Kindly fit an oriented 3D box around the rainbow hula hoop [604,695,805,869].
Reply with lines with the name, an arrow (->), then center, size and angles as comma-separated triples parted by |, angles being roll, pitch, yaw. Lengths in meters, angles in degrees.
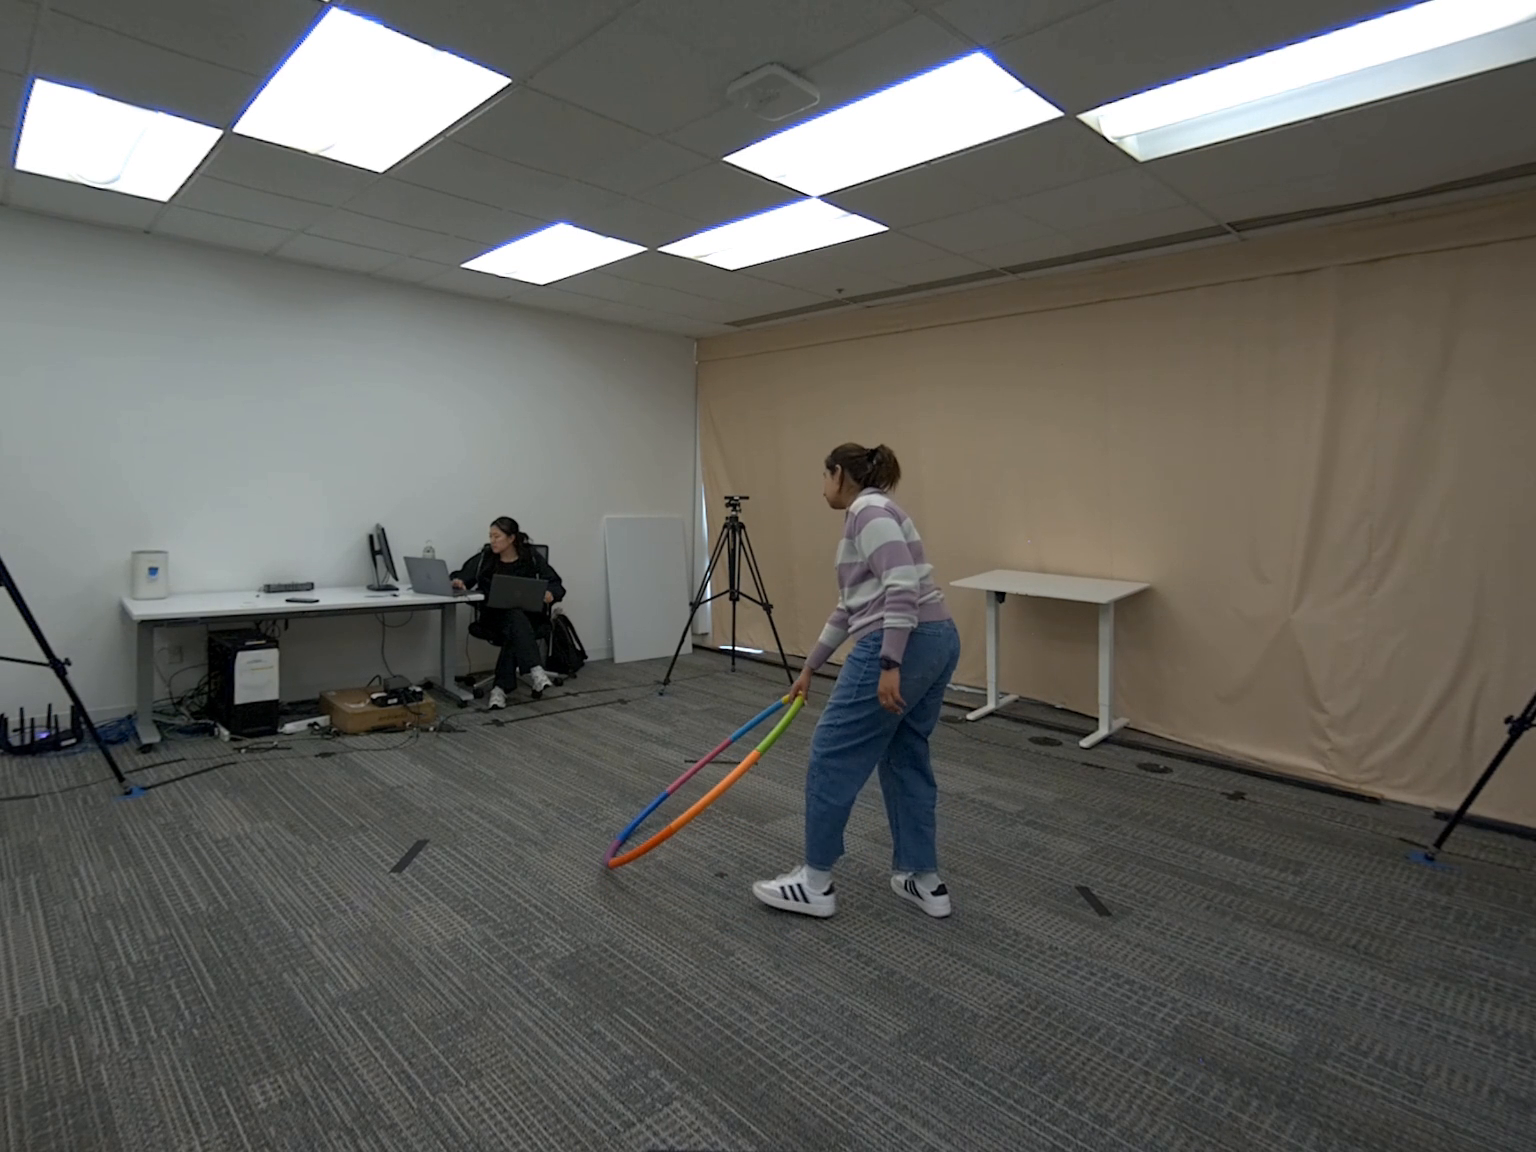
rainbow hula hoop -> -0.245, 0.764, 3.222 | 0.978, 0.035, 0.977 | -39, 0, -3
